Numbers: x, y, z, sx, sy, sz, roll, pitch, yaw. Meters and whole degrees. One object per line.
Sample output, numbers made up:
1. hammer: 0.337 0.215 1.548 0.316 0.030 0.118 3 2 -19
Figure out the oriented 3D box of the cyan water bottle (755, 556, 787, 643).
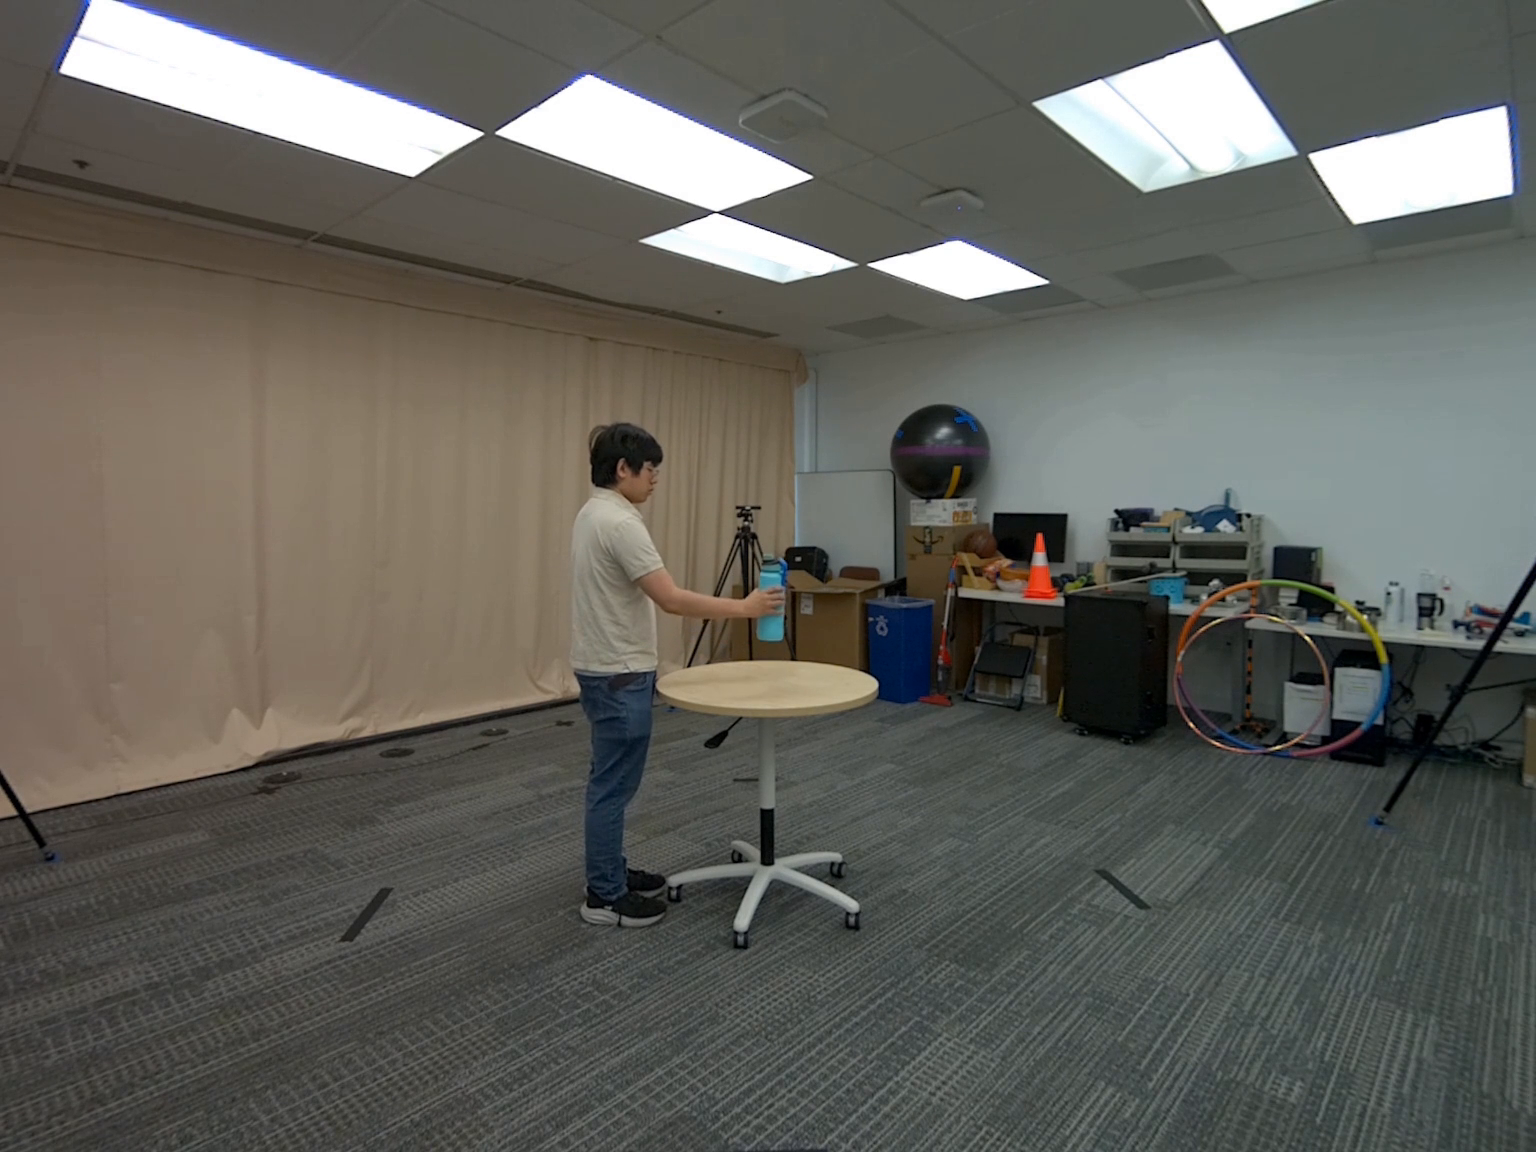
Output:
1. cyan water bottle: 0.014 0.088 2.831 0.092 0.283 0.093 4 4 -2
